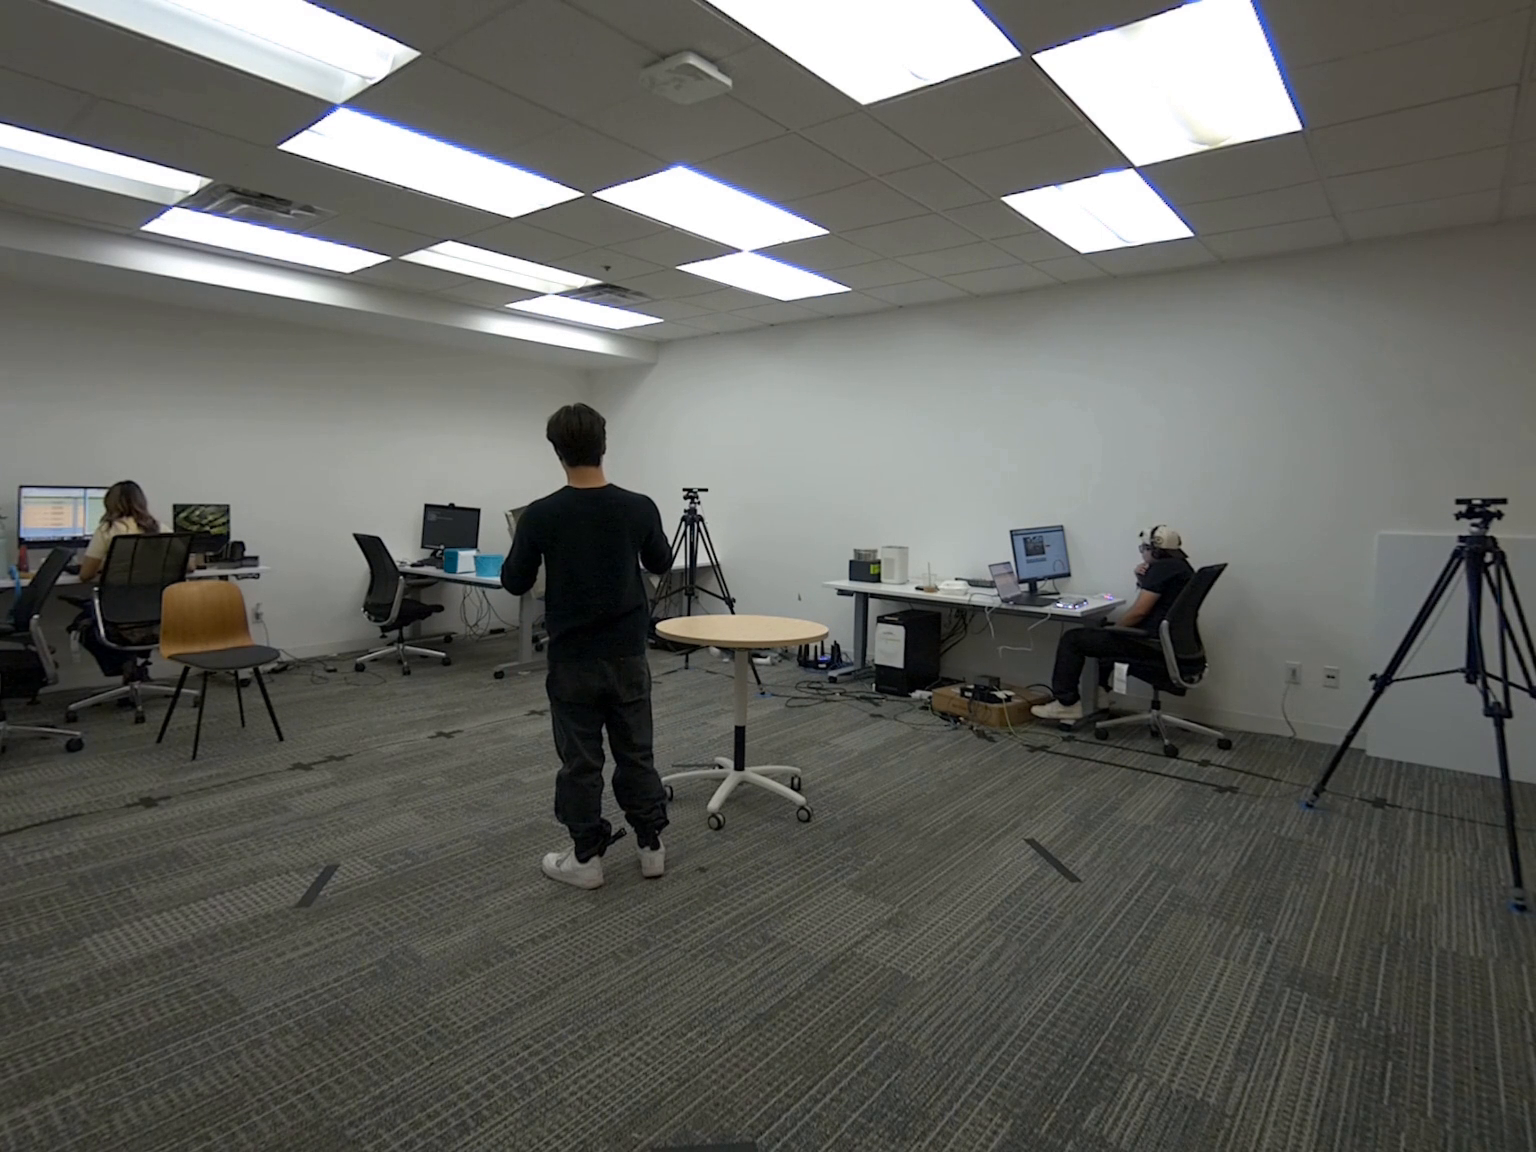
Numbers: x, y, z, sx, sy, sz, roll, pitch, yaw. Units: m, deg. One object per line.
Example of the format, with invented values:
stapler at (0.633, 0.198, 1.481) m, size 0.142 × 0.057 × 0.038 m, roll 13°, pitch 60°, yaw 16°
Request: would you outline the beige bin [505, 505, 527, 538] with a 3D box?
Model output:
beige bin at (-0.809, -0.157, 3.420) m, size 0.416 × 0.381 × 0.190 m, roll -20°, pitch -7°, yaw -21°
